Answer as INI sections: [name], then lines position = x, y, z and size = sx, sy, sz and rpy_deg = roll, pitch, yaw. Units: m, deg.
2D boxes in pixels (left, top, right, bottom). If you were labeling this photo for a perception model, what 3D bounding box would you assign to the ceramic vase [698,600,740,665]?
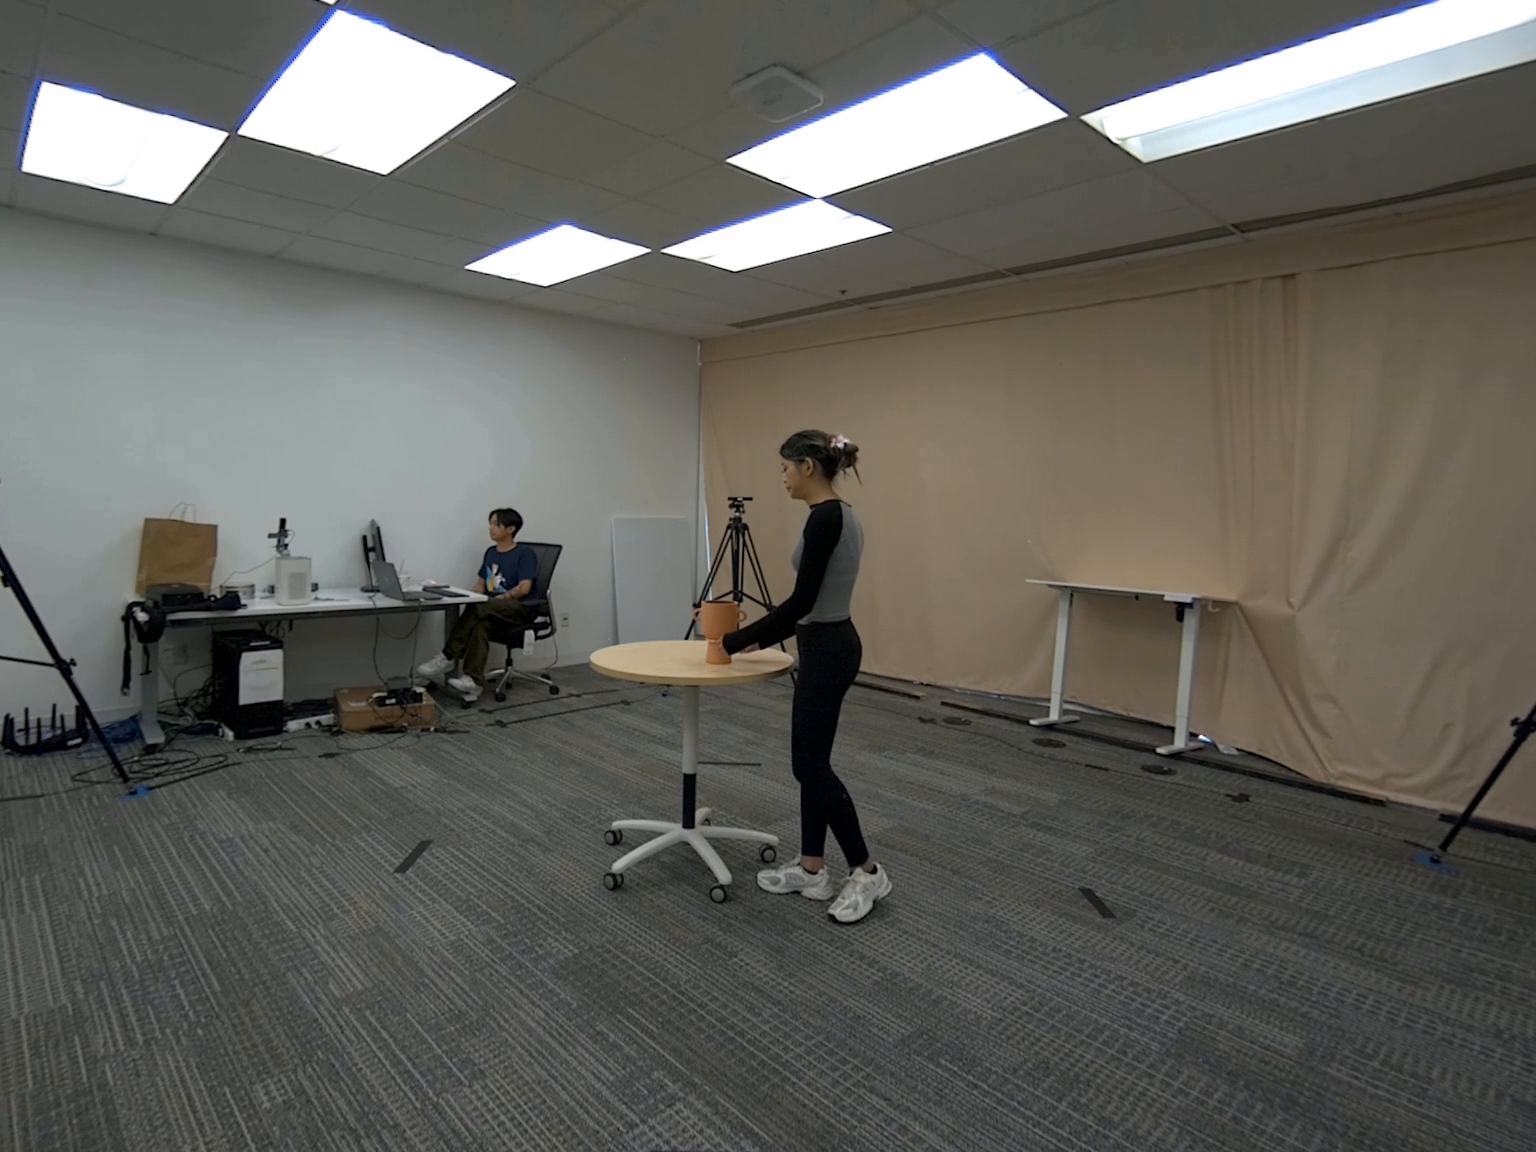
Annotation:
[ceramic vase]
position = -0.179, 0.203, 3.067
size = 0.162, 0.219, 0.132
rpy_deg = 4, 5, 34
